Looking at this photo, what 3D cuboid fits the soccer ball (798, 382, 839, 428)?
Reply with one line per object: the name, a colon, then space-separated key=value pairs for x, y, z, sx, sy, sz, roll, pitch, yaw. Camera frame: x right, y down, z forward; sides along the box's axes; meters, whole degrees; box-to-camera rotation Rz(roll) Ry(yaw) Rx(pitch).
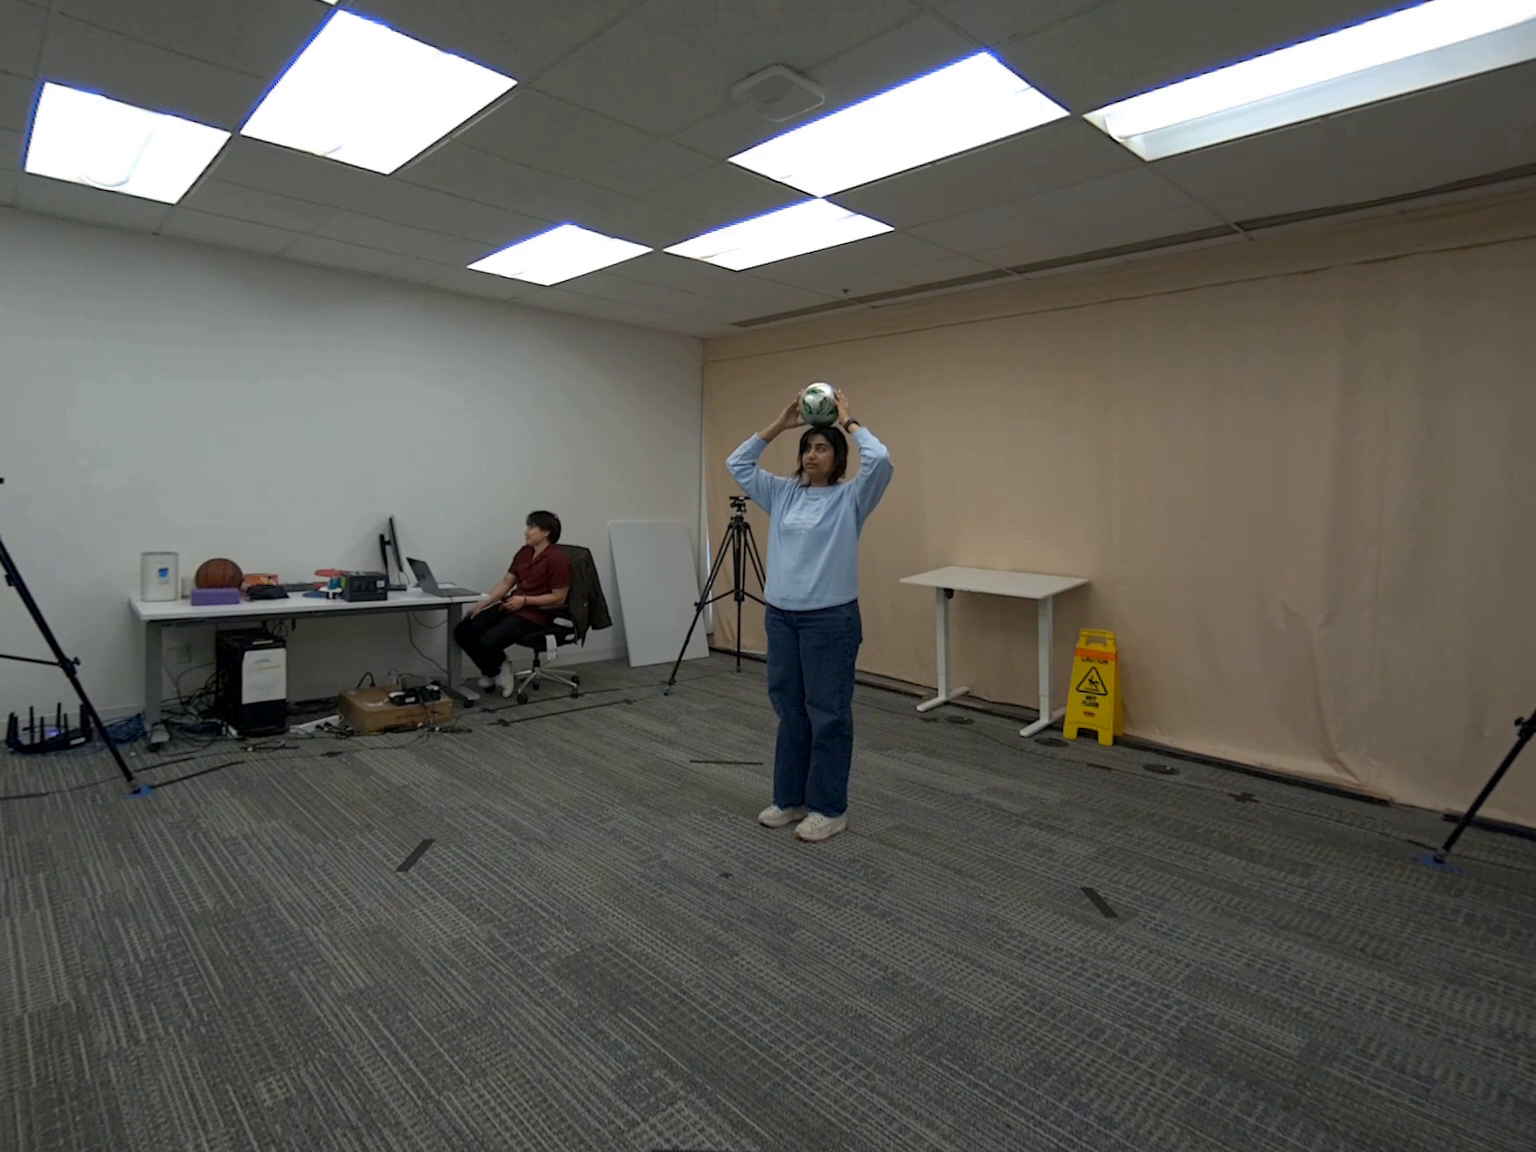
soccer ball: x=0.215 y=-0.714 z=3.529 sx=0.187 sy=0.187 sz=0.188 roll=1 pitch=4 yaw=-1
